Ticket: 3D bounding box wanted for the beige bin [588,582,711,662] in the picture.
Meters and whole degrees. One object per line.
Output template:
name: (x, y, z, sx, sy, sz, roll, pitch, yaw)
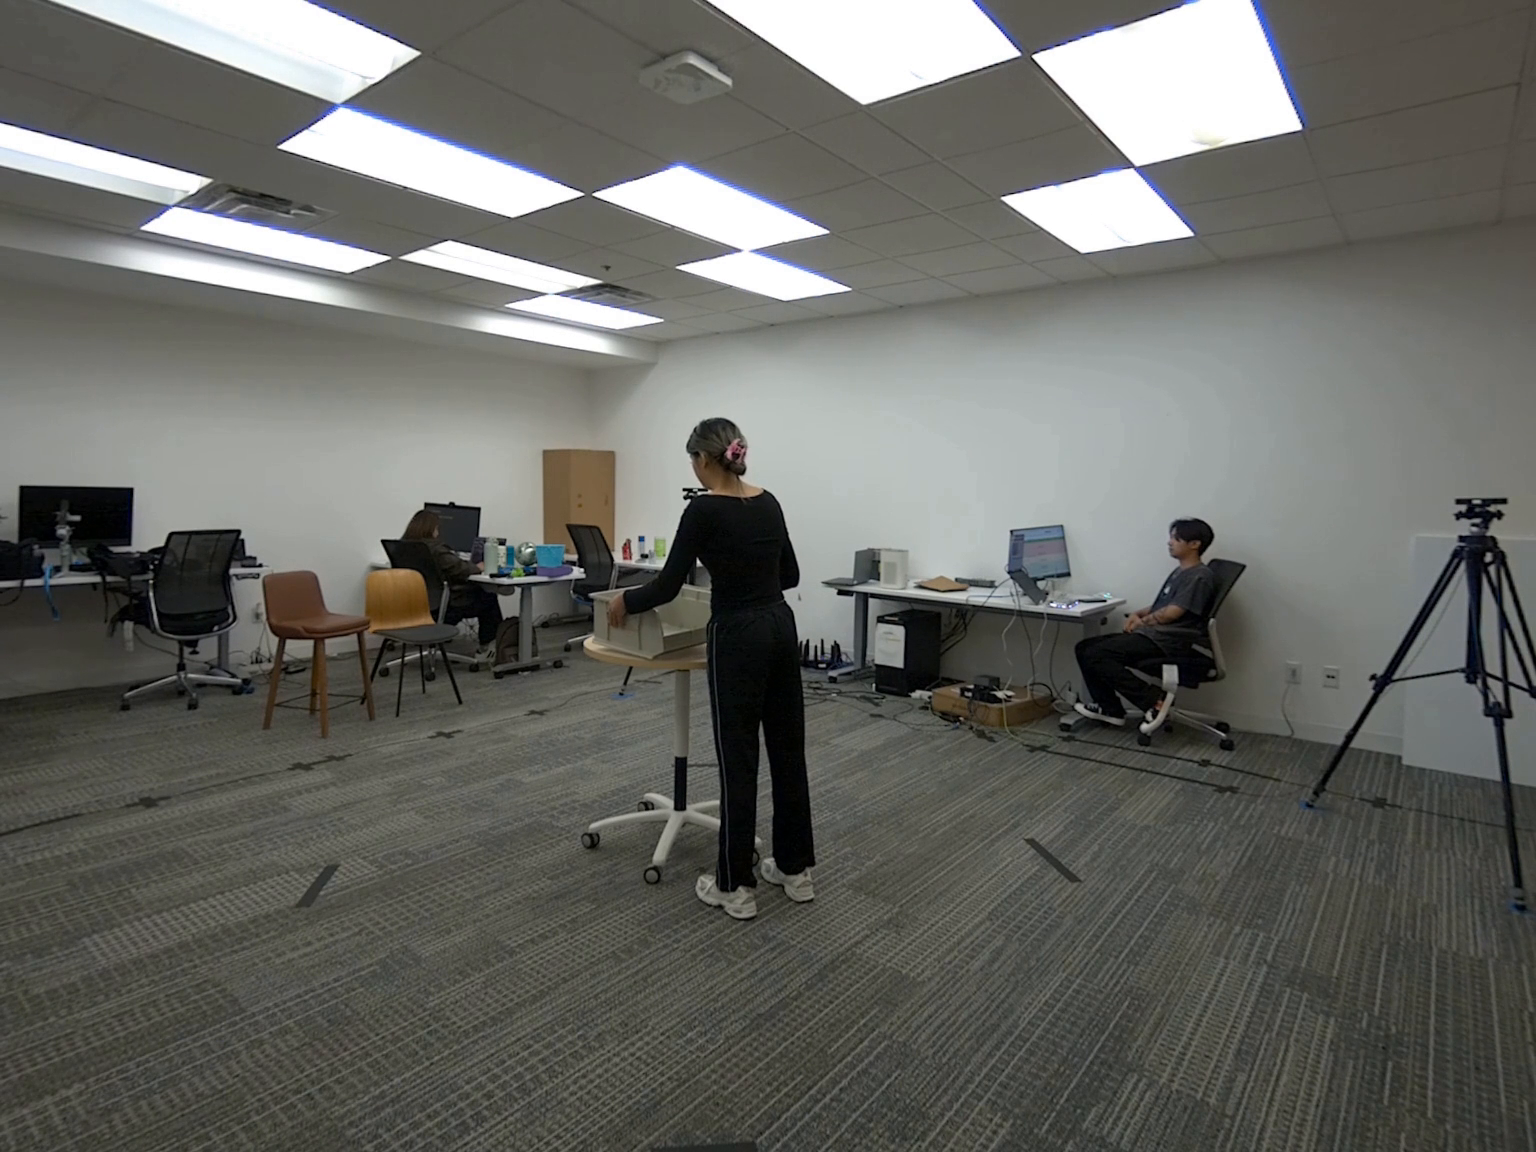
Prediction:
beige bin: (-0.382, 0.154, 3.140, 0.390, 0.187, 0.411, 6, 11, 39)
